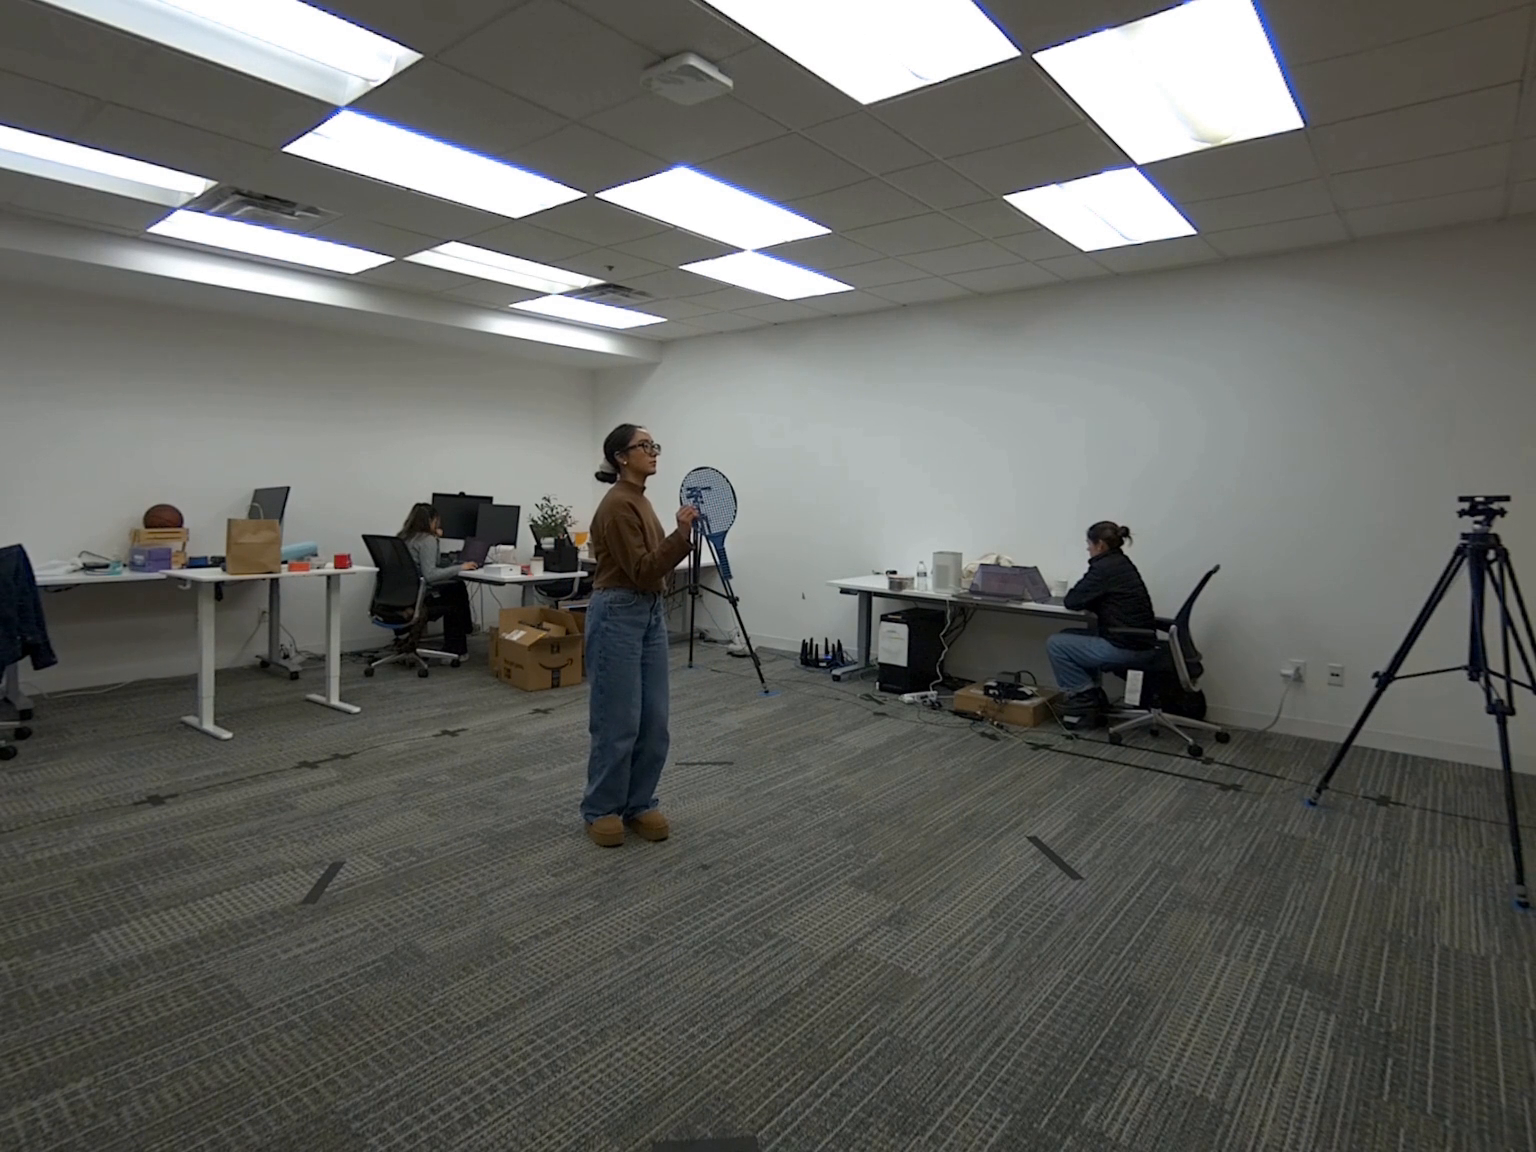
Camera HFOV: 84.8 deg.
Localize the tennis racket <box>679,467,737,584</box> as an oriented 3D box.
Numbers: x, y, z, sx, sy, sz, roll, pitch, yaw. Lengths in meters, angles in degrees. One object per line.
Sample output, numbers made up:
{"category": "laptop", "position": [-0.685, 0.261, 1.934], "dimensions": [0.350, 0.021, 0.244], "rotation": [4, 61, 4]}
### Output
{"category": "tennis racket", "position": [-0.195, -0.196, 3.160], "dimensions": [0.211, 0.435, 0.032], "rotation": [-10, -5, -12]}
